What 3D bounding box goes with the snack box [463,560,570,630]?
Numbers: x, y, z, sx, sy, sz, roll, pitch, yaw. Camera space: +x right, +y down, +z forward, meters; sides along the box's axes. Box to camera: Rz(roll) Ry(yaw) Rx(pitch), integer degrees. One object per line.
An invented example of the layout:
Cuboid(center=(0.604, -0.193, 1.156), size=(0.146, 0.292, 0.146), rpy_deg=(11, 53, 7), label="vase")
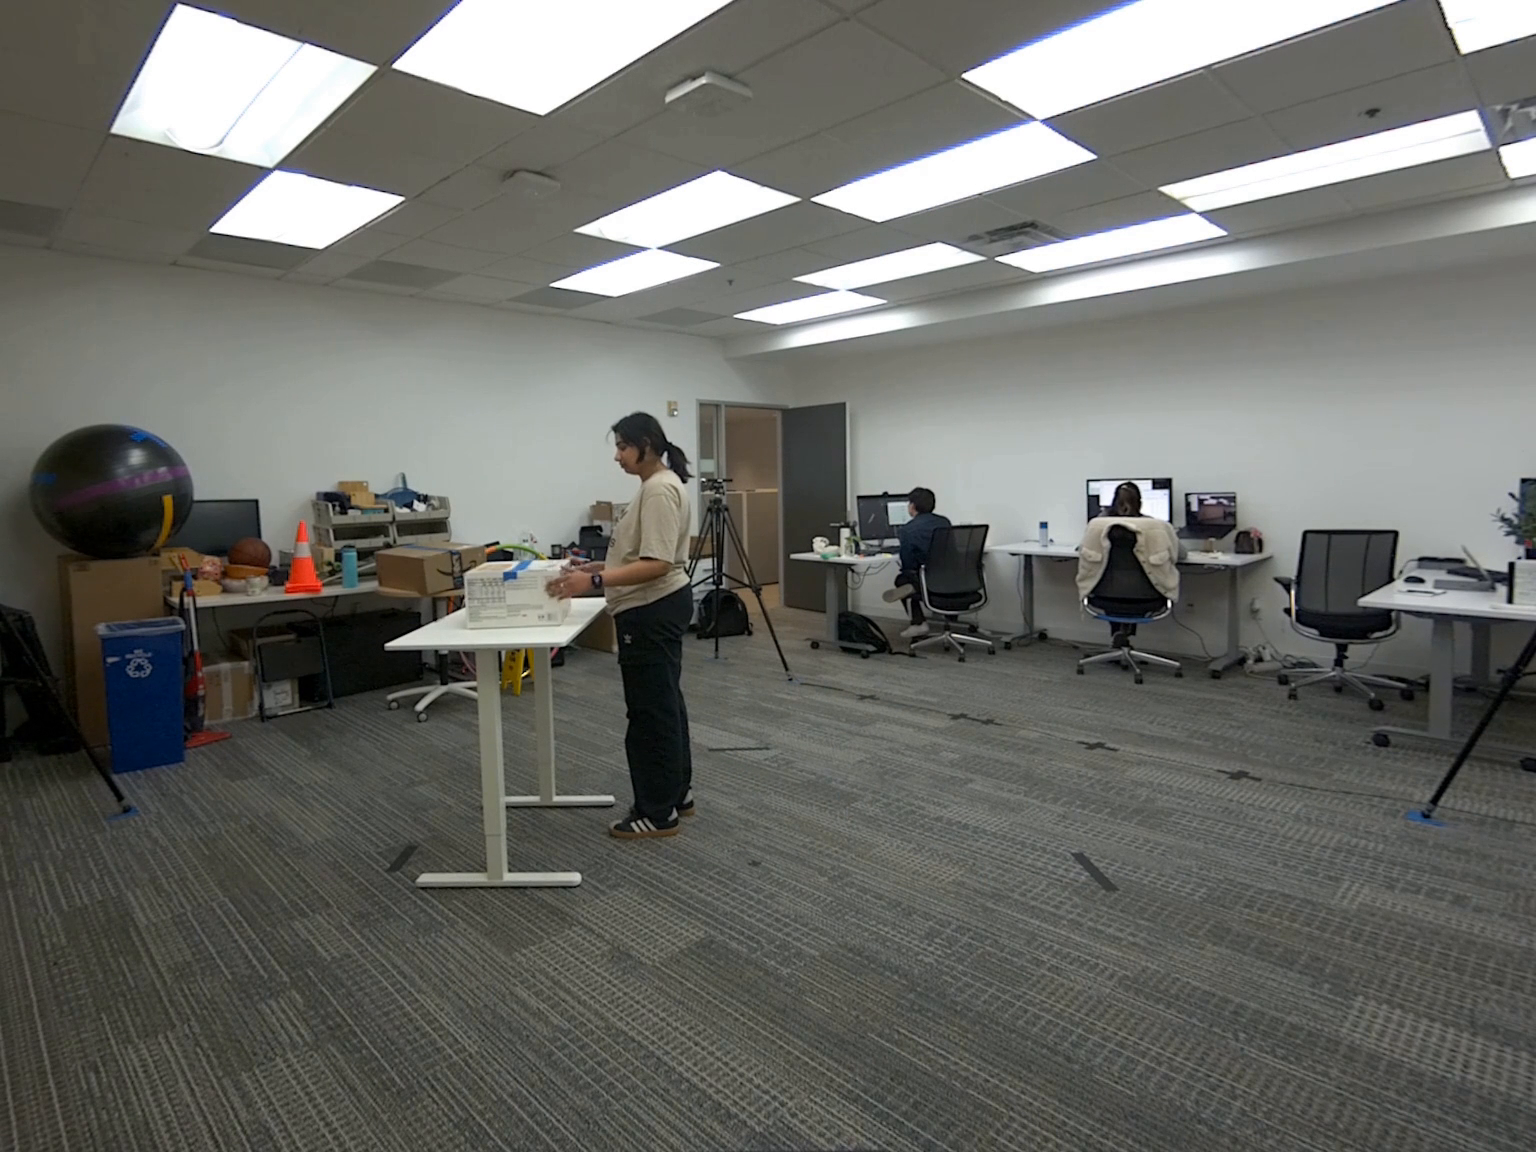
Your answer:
Cuboid(center=(-0.937, 0.062, 3.263), size=(0.338, 0.205, 0.409), rpy_deg=(-3, 6, -7), label="snack box")
